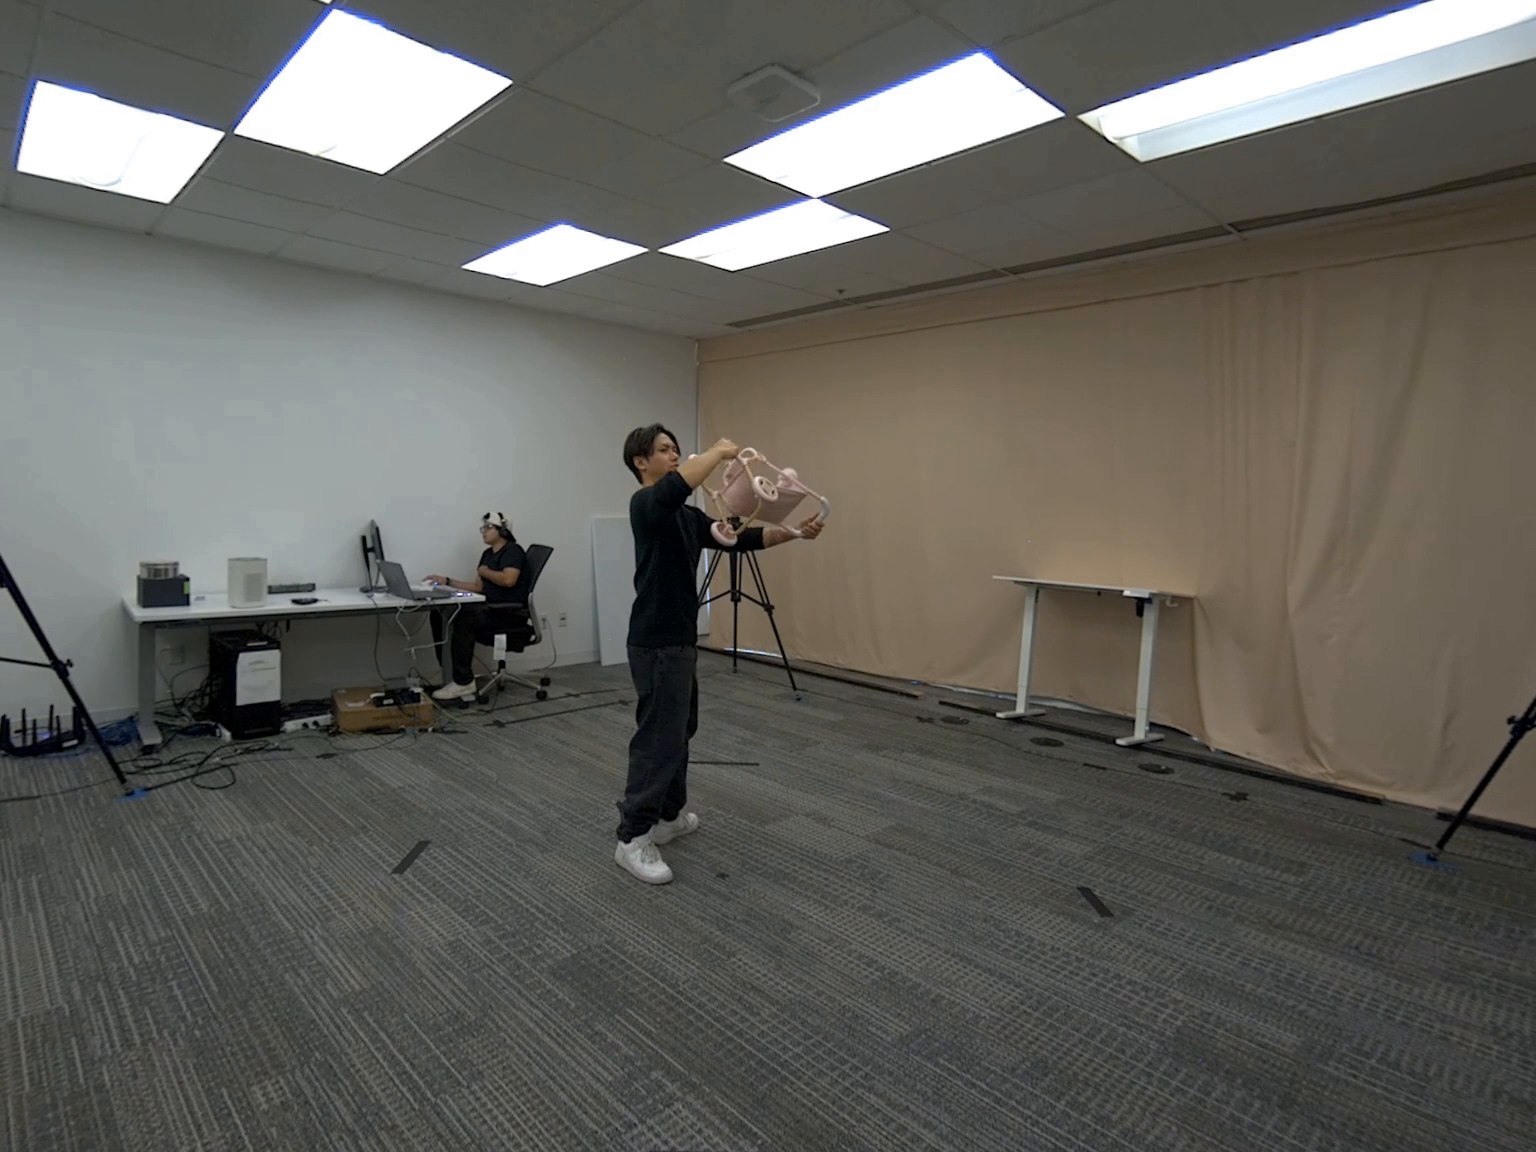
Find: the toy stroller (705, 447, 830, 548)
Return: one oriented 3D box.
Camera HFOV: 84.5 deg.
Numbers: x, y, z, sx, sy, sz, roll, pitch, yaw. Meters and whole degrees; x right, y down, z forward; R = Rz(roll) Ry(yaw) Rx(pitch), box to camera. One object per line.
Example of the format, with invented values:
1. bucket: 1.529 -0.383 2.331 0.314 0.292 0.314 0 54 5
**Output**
1. toy stroller: -0.056 -0.318 3.174 0.523 0.281 0.350 -5 52 -49
